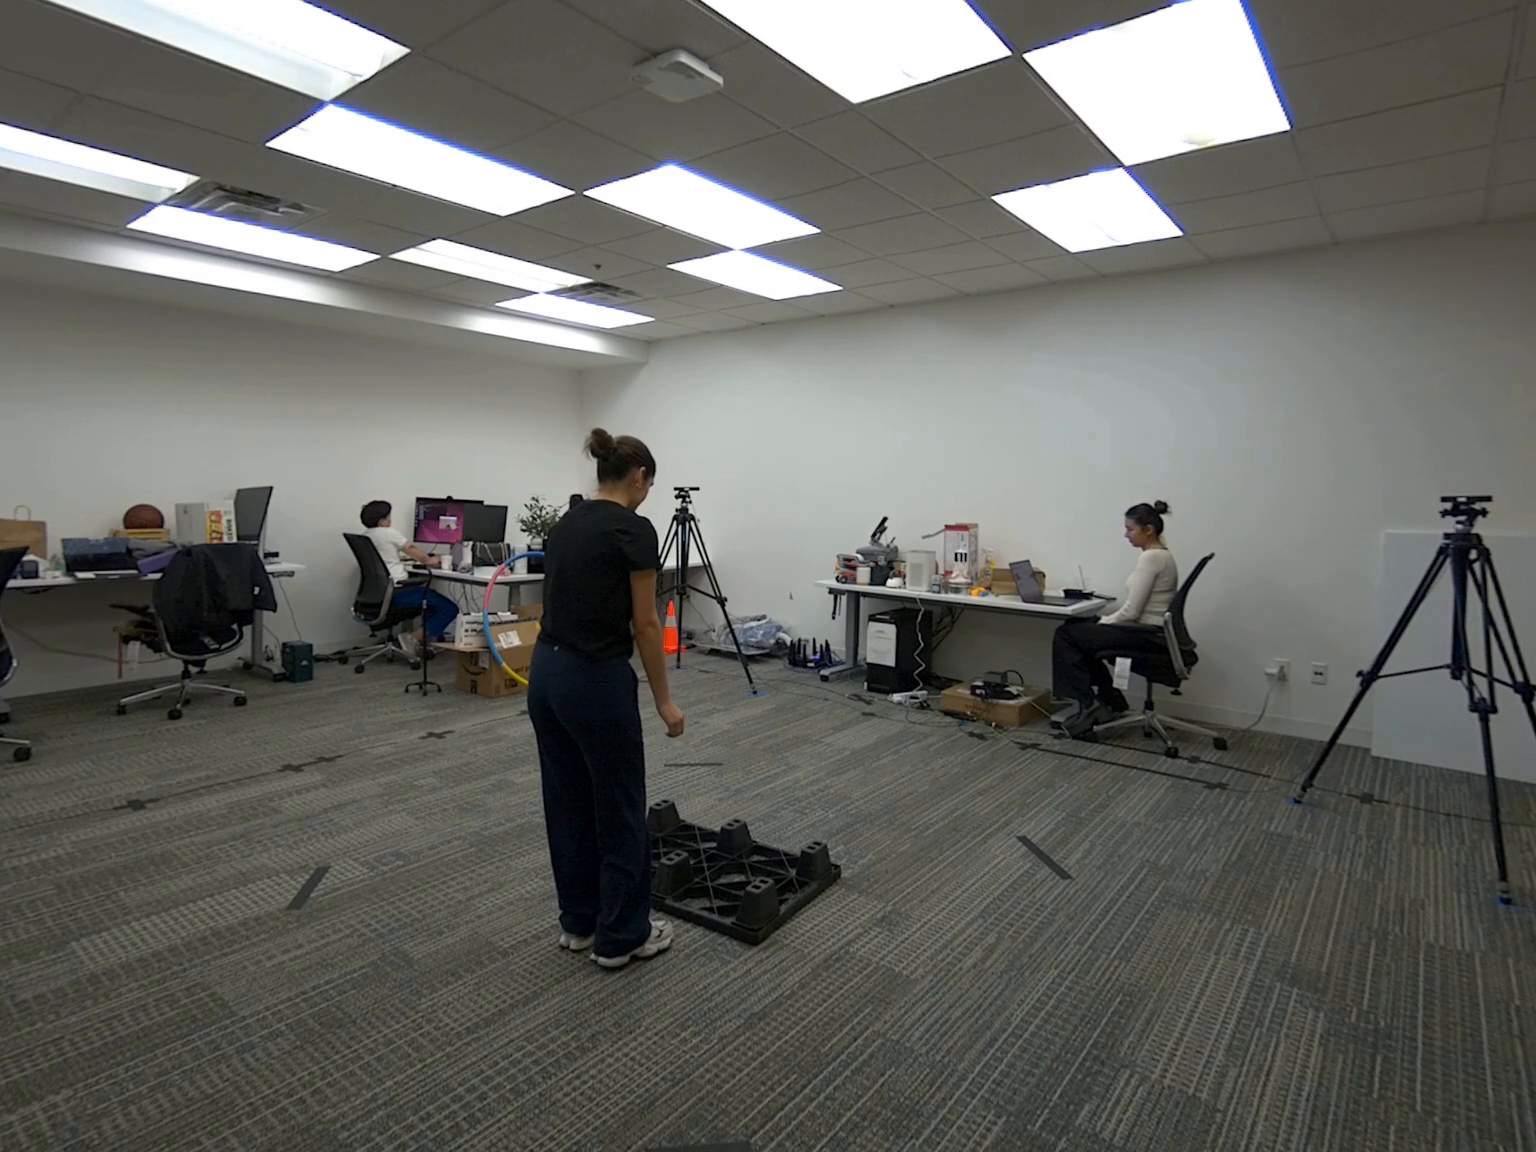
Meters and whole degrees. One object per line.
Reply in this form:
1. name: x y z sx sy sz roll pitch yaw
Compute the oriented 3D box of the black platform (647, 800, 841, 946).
1. black platform: -0.216 1.004 3.052 0.831 0.143 0.588 4 6 33
